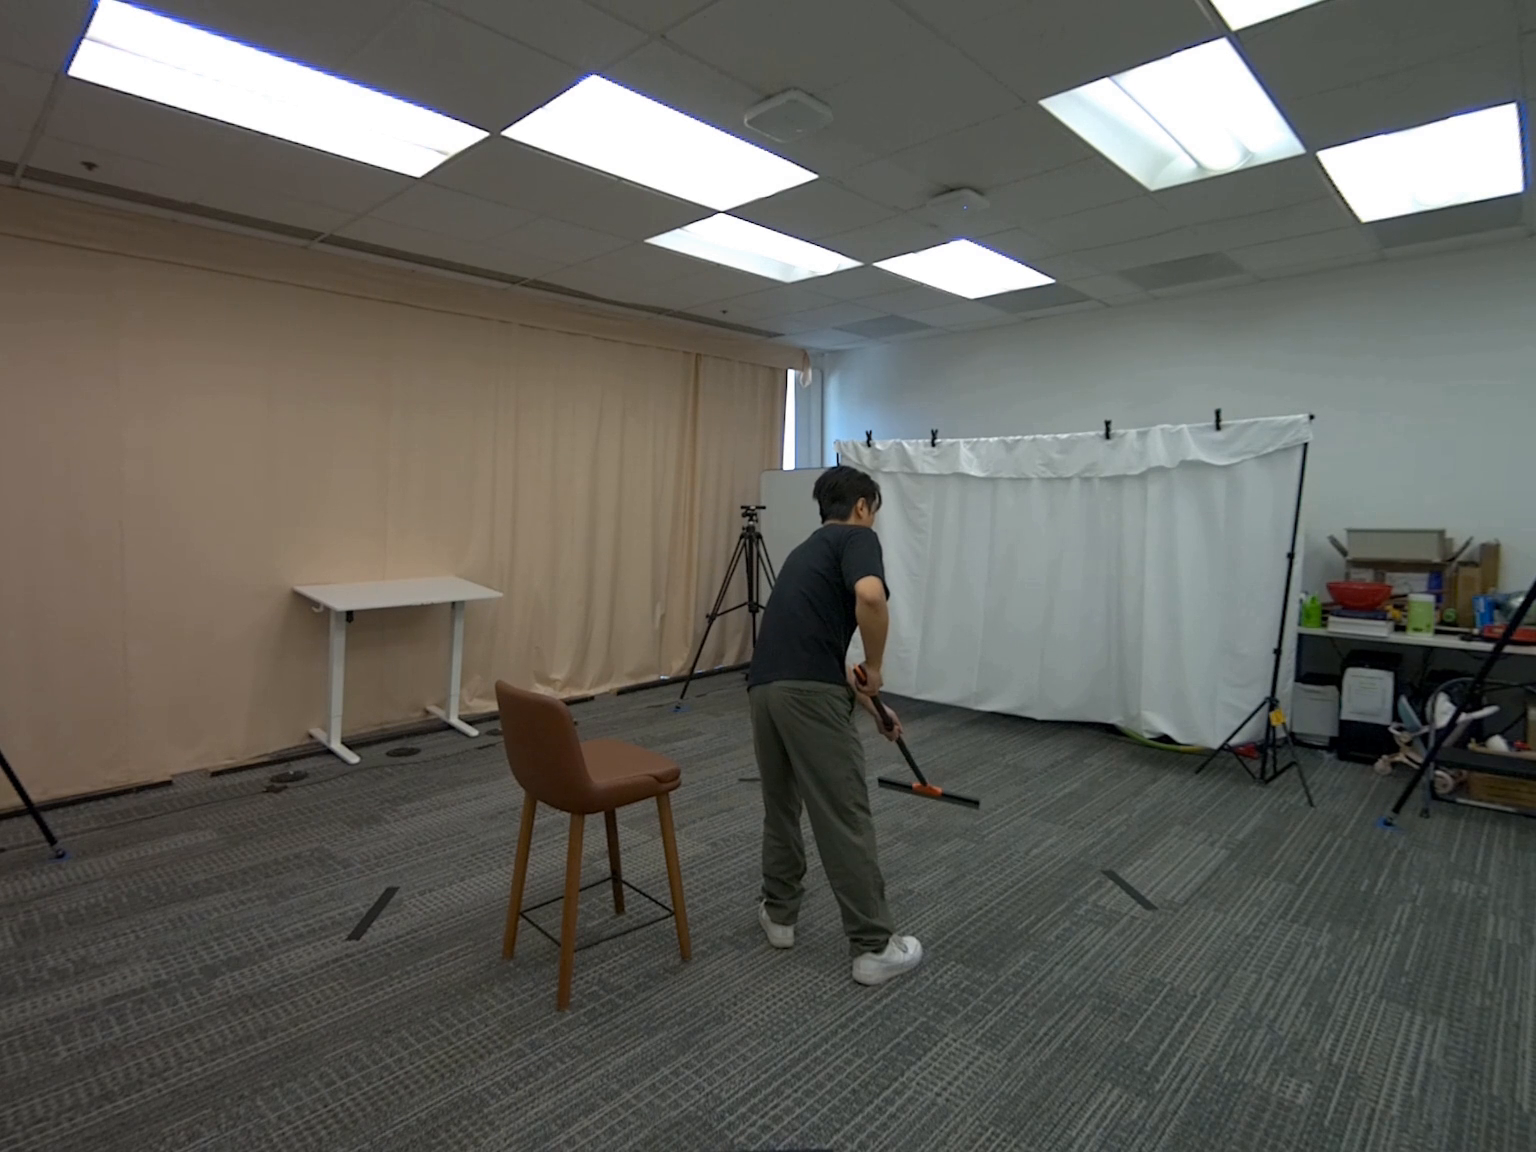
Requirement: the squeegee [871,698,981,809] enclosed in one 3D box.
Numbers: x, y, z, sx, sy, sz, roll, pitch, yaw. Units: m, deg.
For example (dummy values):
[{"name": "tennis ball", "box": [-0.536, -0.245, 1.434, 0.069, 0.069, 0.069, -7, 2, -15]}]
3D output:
[{"name": "squeegee", "box": [0.482, 0.615, 3.030, 0.448, 0.053, 1.491, 8, -23, 22]}]
